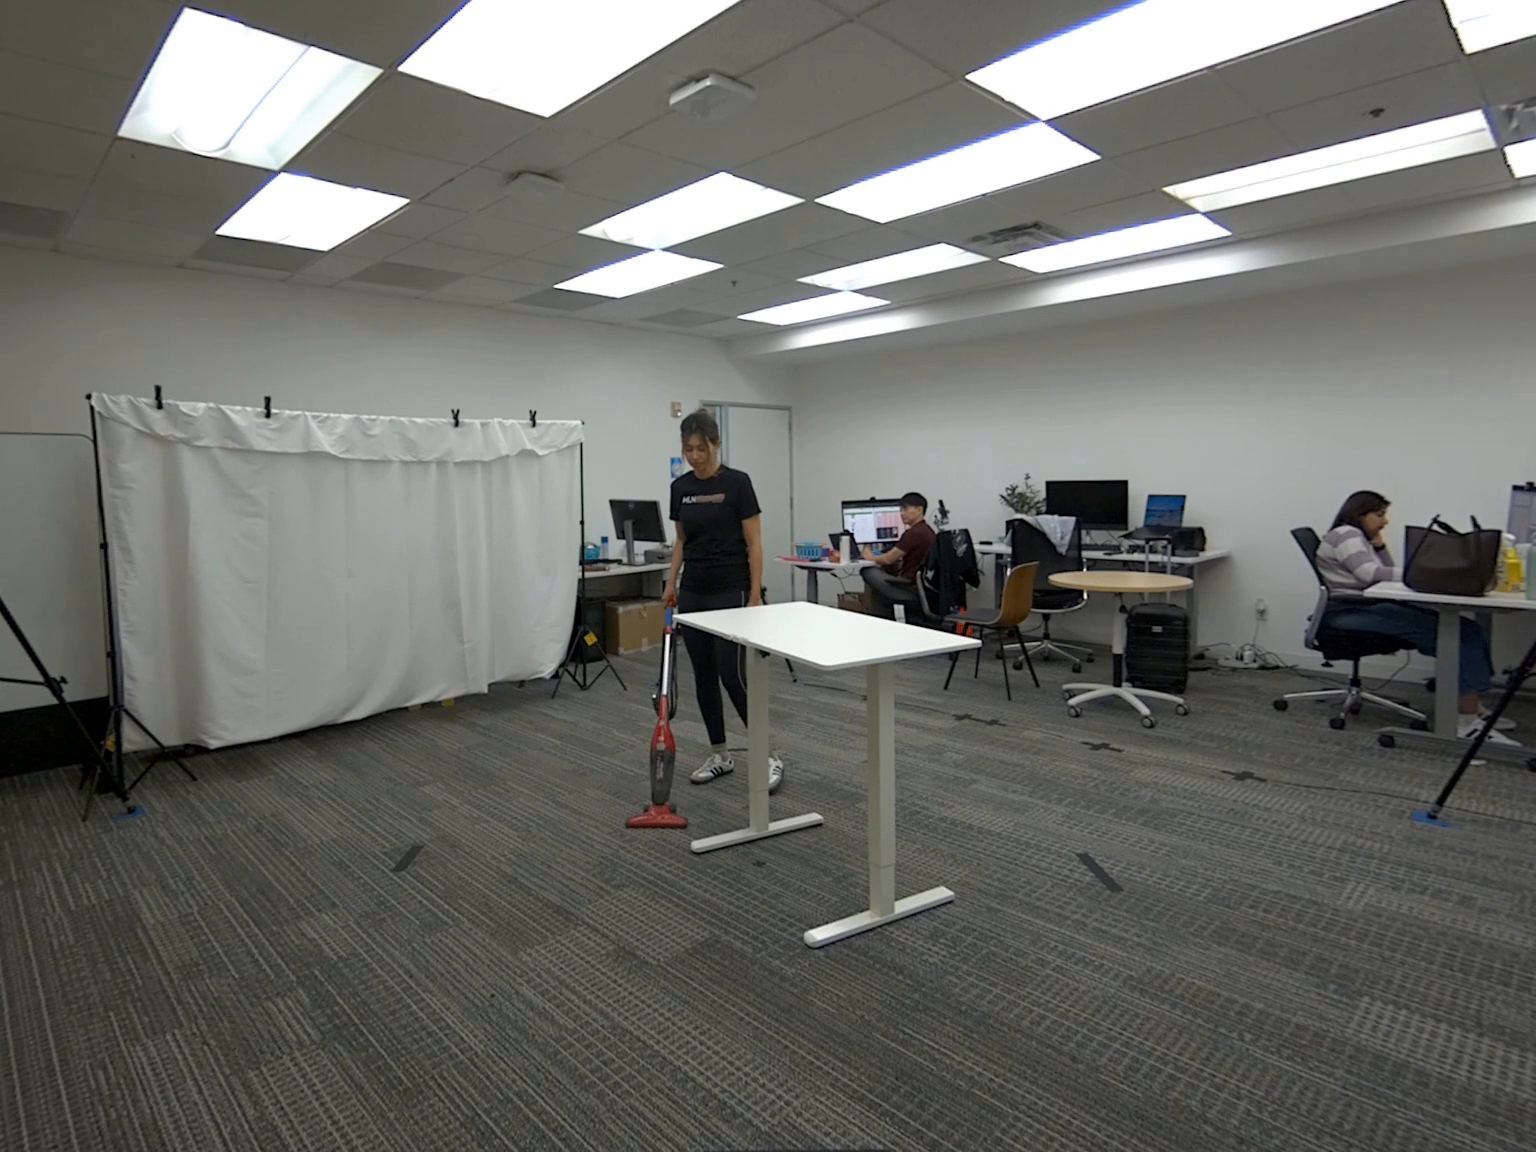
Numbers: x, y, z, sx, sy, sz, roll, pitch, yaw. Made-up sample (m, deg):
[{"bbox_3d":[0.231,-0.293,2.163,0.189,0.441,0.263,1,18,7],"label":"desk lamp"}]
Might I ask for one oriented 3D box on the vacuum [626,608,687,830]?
[{"bbox_3d":[-0.458,0.552,3.794,0.253,1.076,0.140,-3,-34,3],"label":"vacuum"}]
